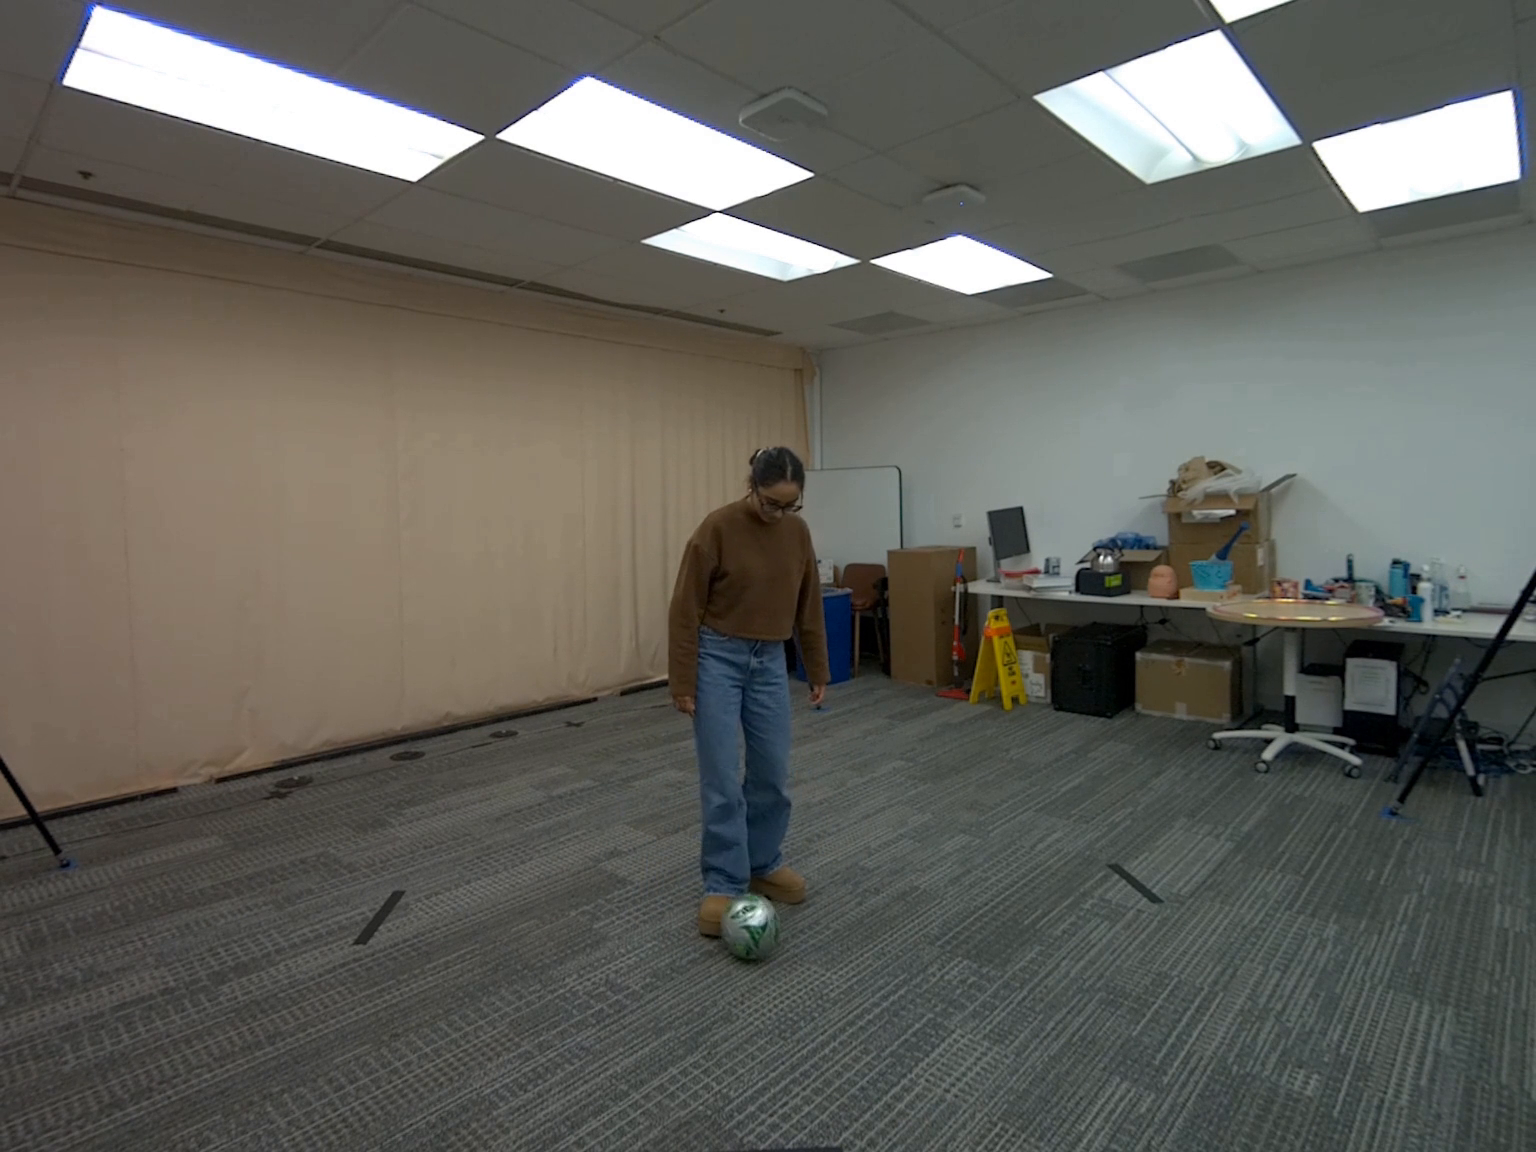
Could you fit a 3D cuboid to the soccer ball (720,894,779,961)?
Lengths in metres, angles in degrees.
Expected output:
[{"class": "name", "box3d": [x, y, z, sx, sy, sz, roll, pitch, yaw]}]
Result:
[{"class": "soccer ball", "box3d": [-0.058, 1.075, 2.600, 0.187, 0.187, 0.188, -1, 4, -2]}]
